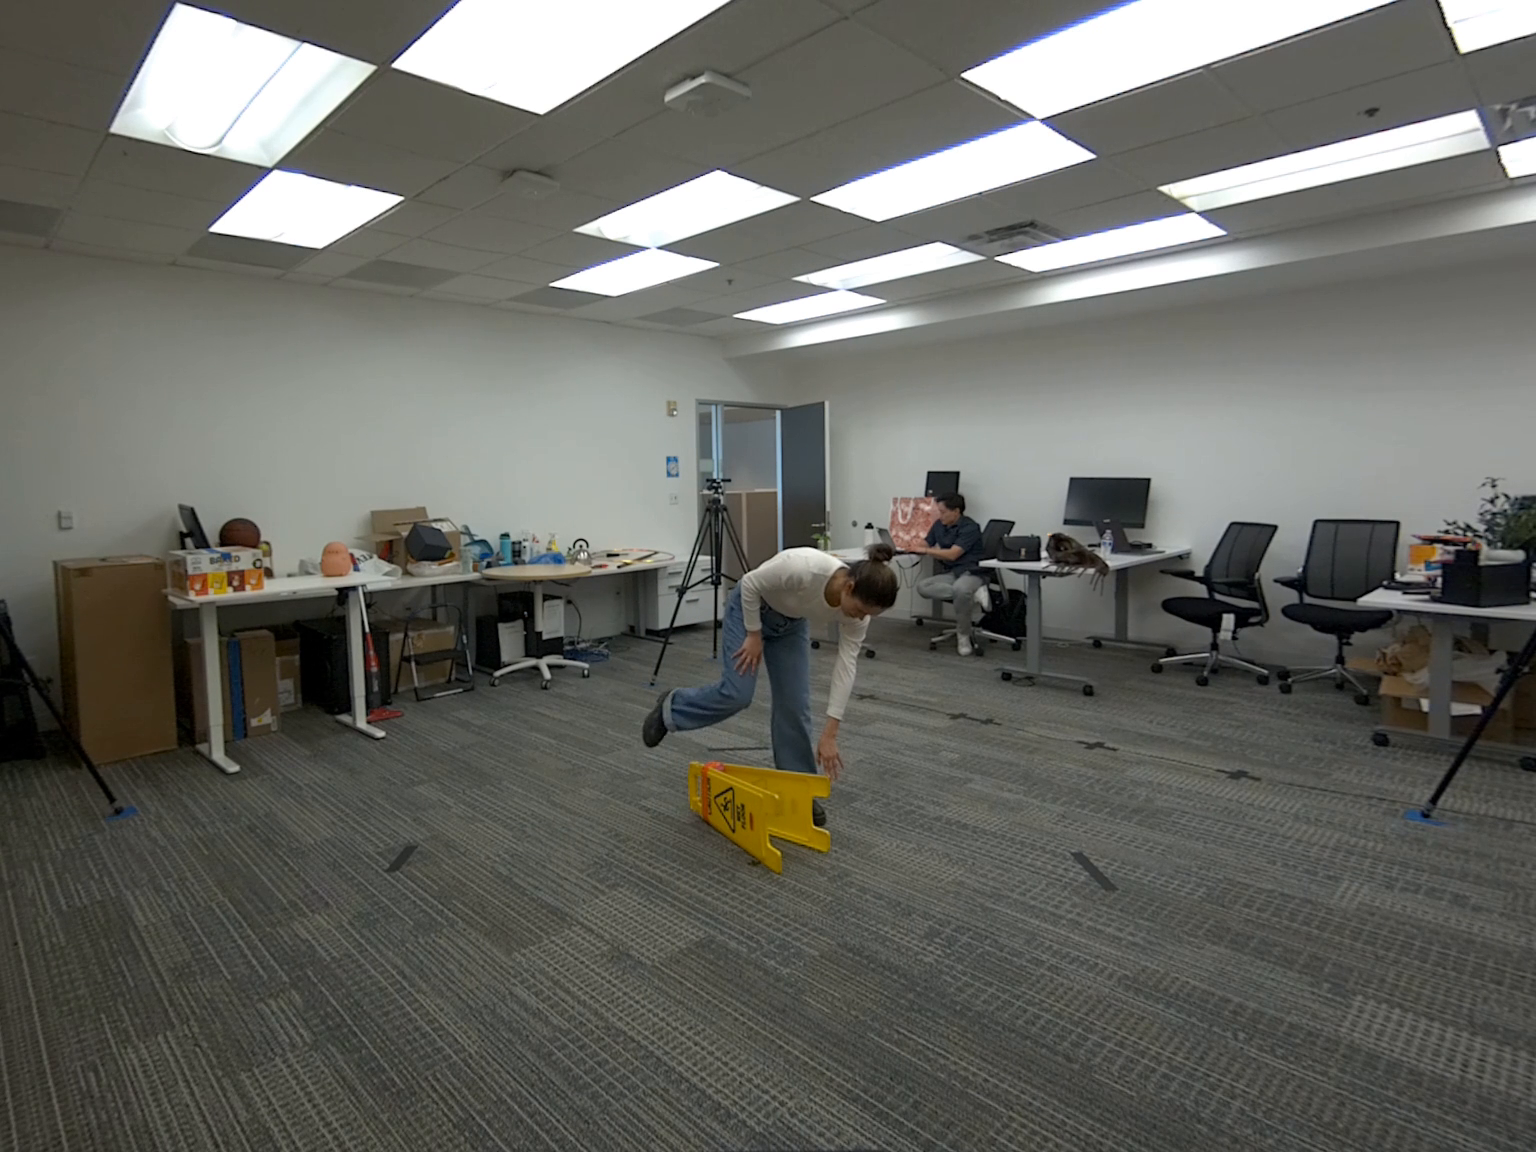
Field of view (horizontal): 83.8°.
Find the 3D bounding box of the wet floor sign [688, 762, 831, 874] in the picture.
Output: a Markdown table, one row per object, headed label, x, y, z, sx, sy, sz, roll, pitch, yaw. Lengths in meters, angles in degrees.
| label | x | y | z | sx | sy | sz | roll | pitch | yaw |
| --- | --- | --- | --- | --- | --- | --- | --- | --- | --- |
| wet floor sign | -0.095 | 0.890 | 3.336 | 0.282 | 0.282 | 0.665 | -3 | 4 | -44 |
